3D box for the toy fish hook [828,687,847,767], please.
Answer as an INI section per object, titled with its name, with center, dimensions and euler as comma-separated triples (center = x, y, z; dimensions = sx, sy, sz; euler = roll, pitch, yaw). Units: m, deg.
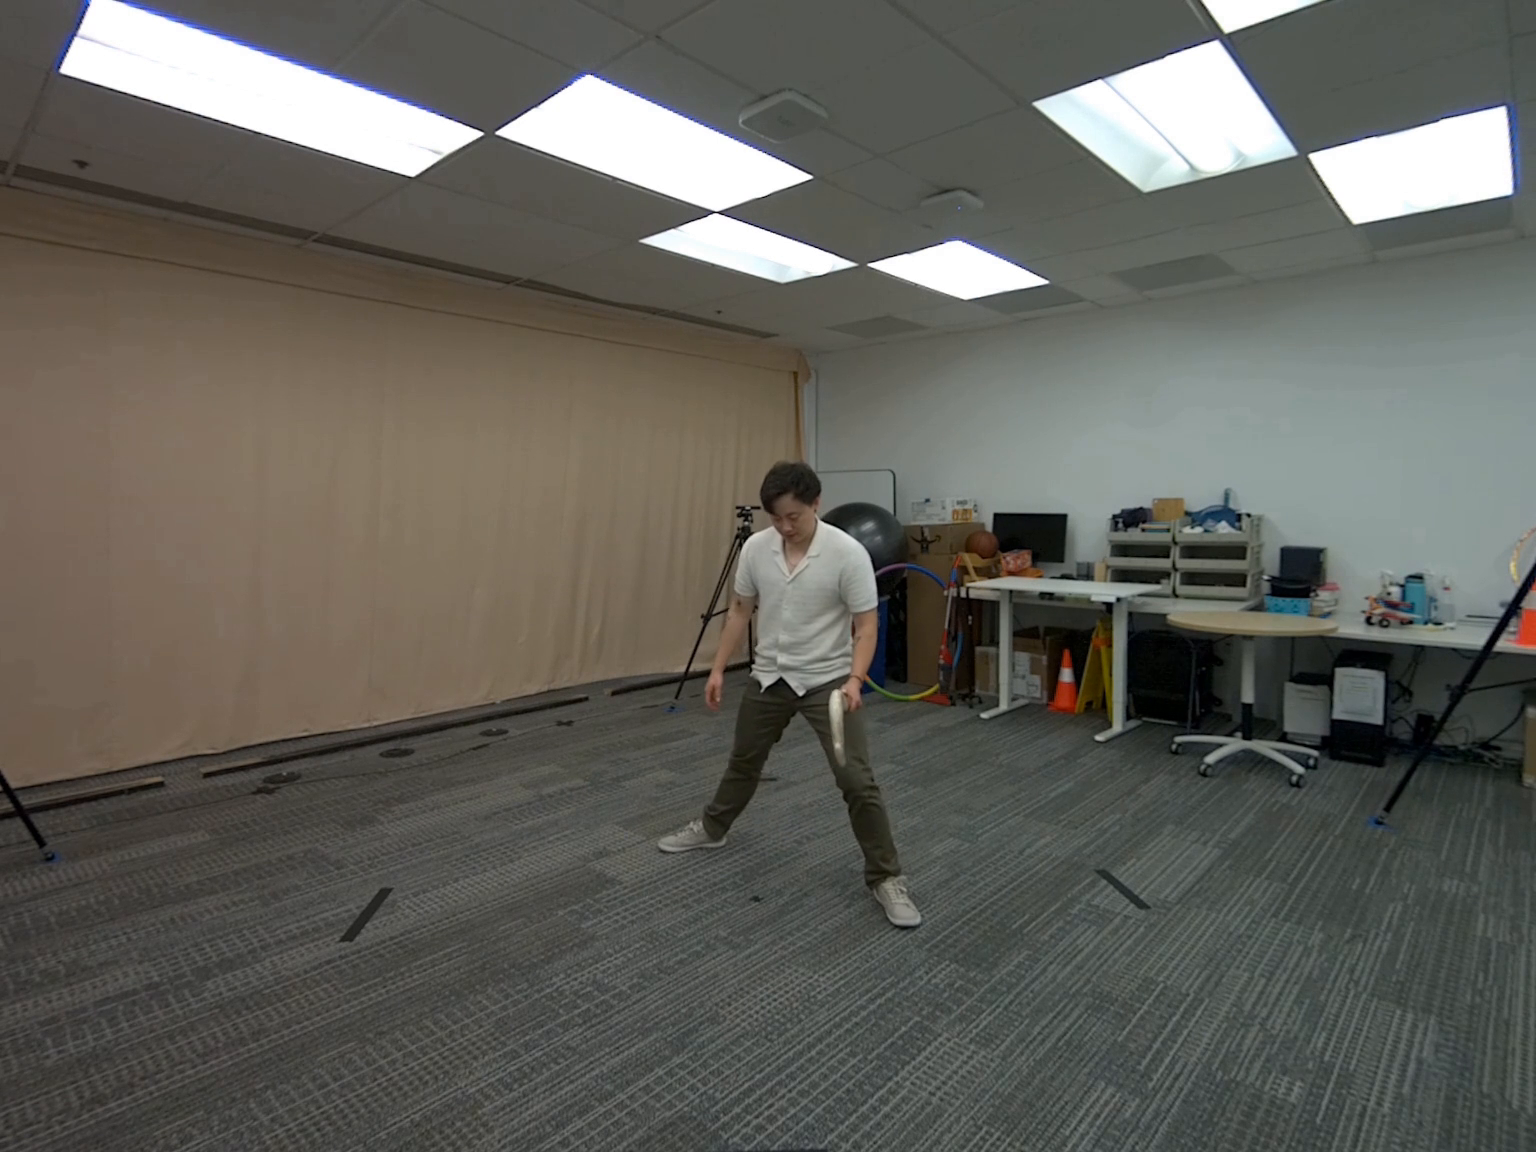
[toy fish hook]
center = 0.227, 0.459, 2.608
dimensions = 0.049, 0.225, 0.498
euler = 2, -3, 11
